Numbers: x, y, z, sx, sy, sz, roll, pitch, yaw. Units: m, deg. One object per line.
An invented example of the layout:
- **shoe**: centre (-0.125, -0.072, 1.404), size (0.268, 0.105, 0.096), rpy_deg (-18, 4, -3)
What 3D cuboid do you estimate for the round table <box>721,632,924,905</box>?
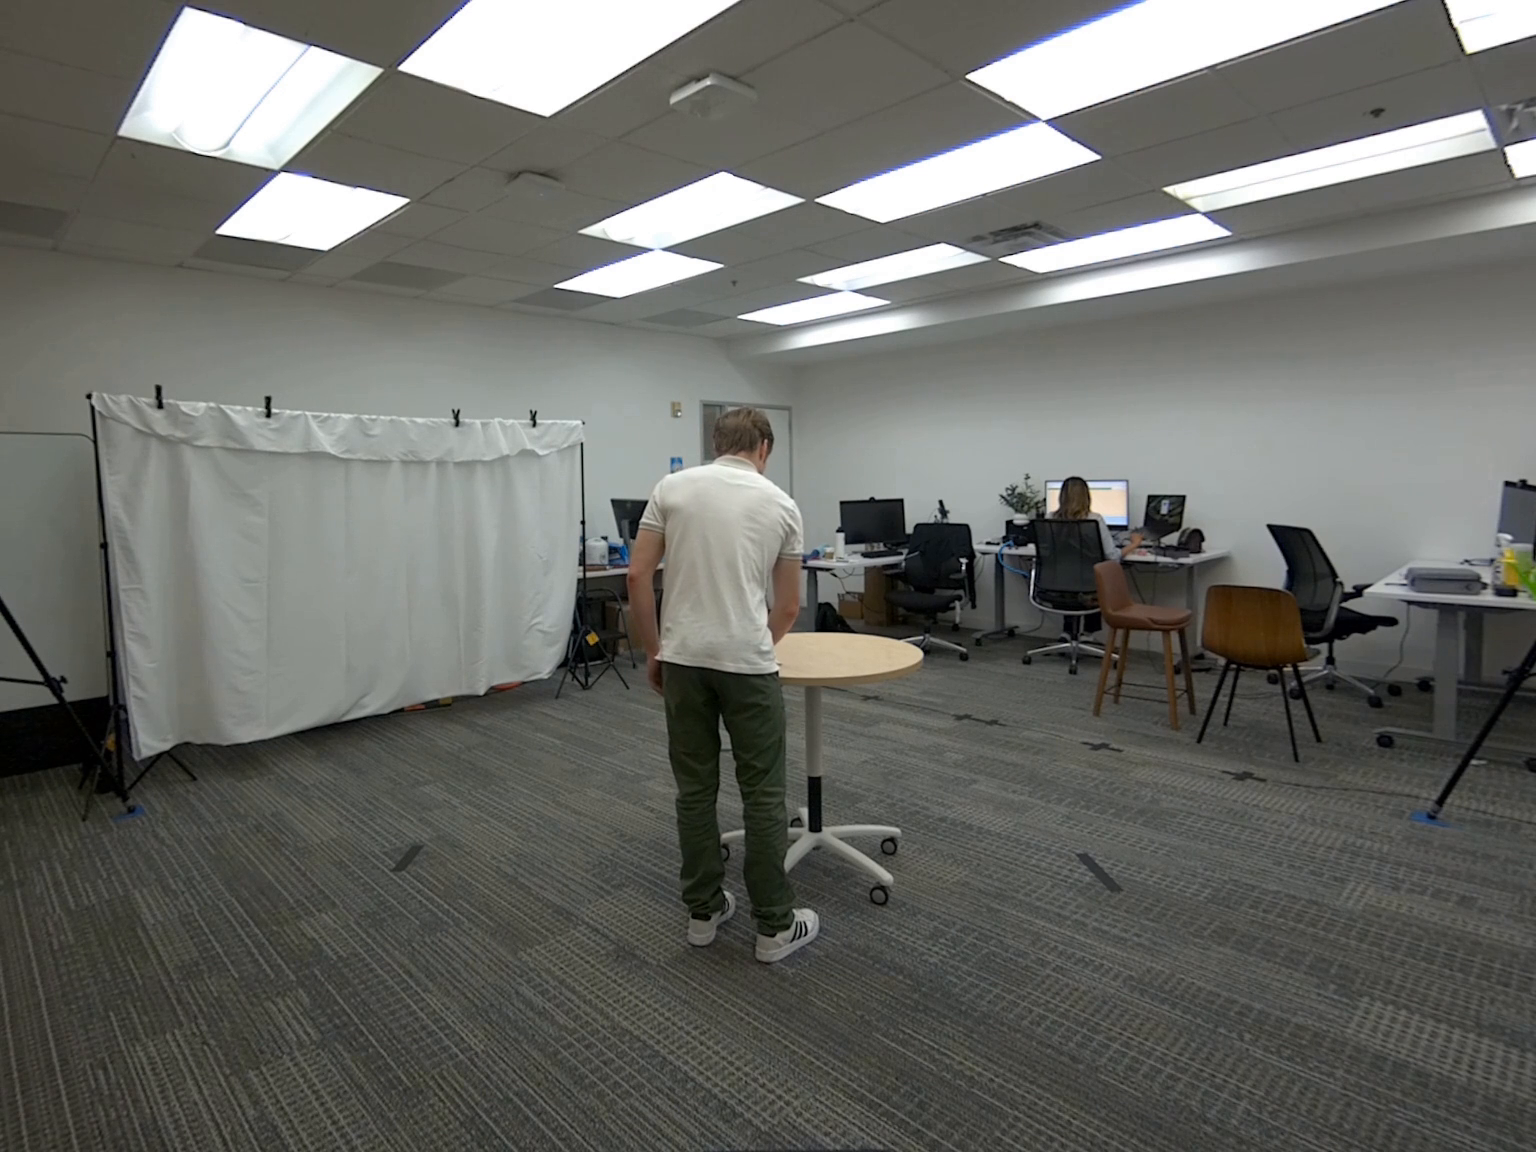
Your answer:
- **round table**: centre (0.182, 0.657, 3.045), size (0.784, 0.783, 0.789), rpy_deg (-2, 5, -2)
